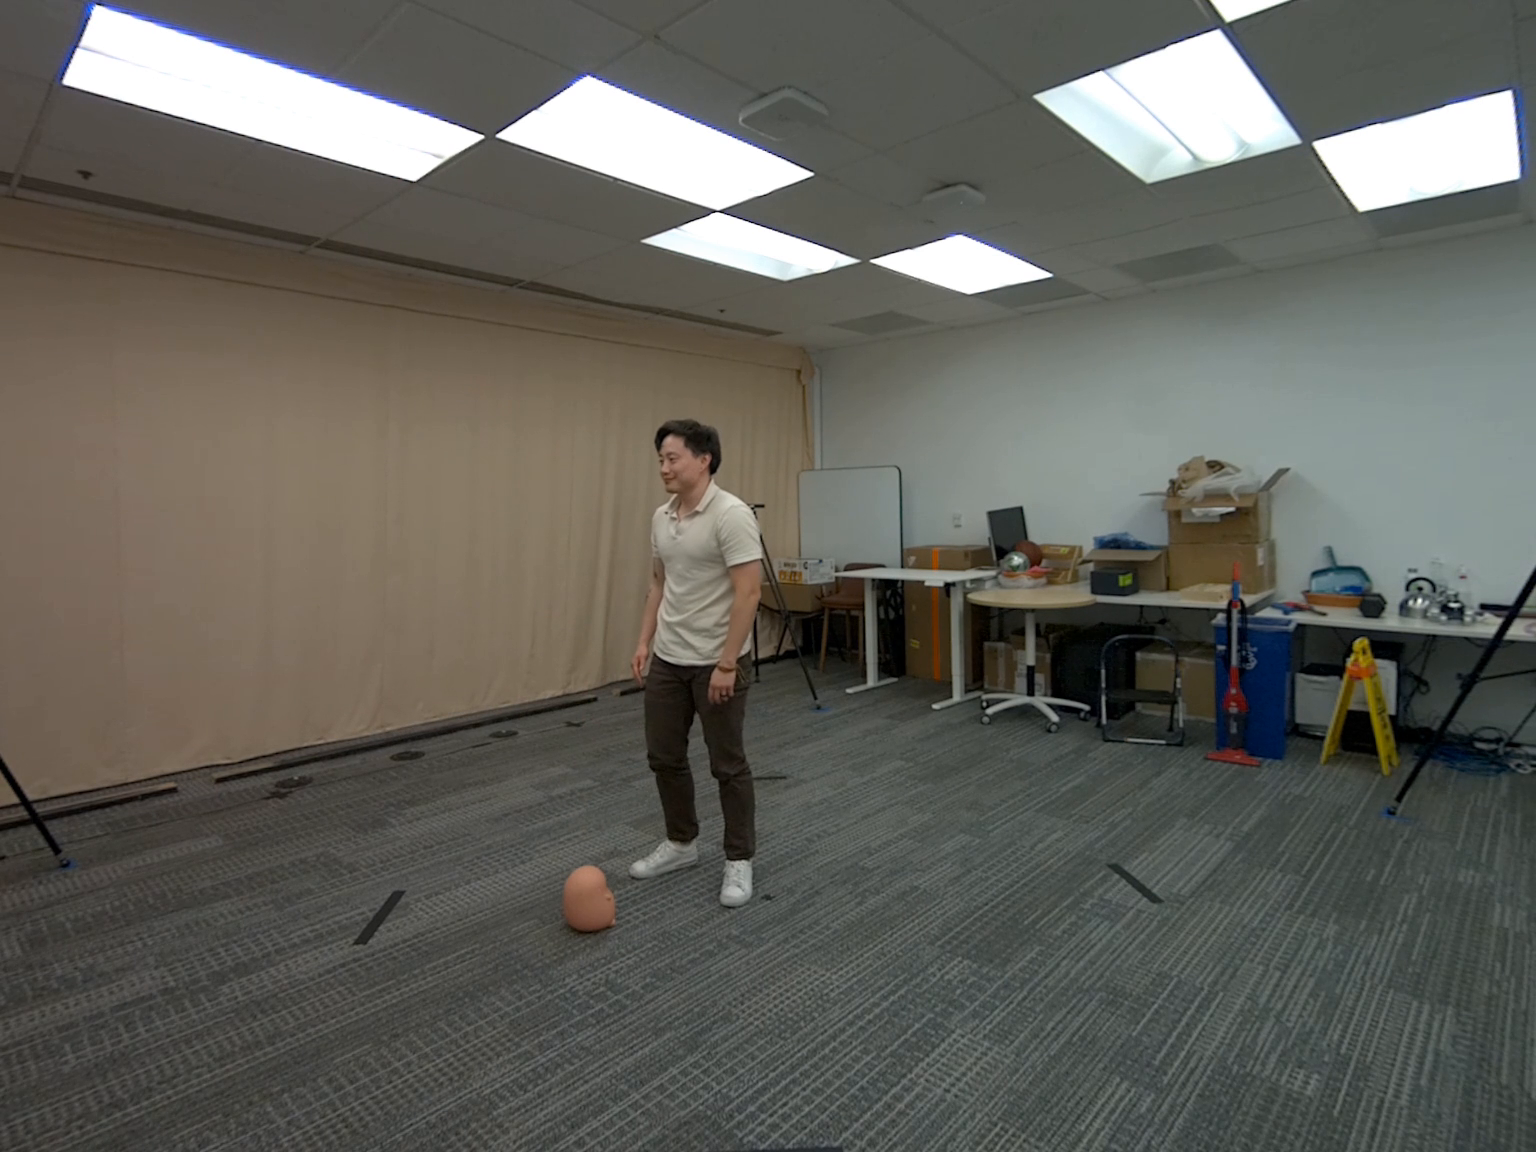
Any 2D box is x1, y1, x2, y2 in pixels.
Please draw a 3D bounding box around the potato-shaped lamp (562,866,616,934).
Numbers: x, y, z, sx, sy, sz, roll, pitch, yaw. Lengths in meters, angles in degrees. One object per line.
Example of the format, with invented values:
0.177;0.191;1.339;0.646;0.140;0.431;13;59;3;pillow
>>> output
-0.597;1.070;2.802;0.167;0.198;0.169;-4;3;-26;potato-shaped lamp
